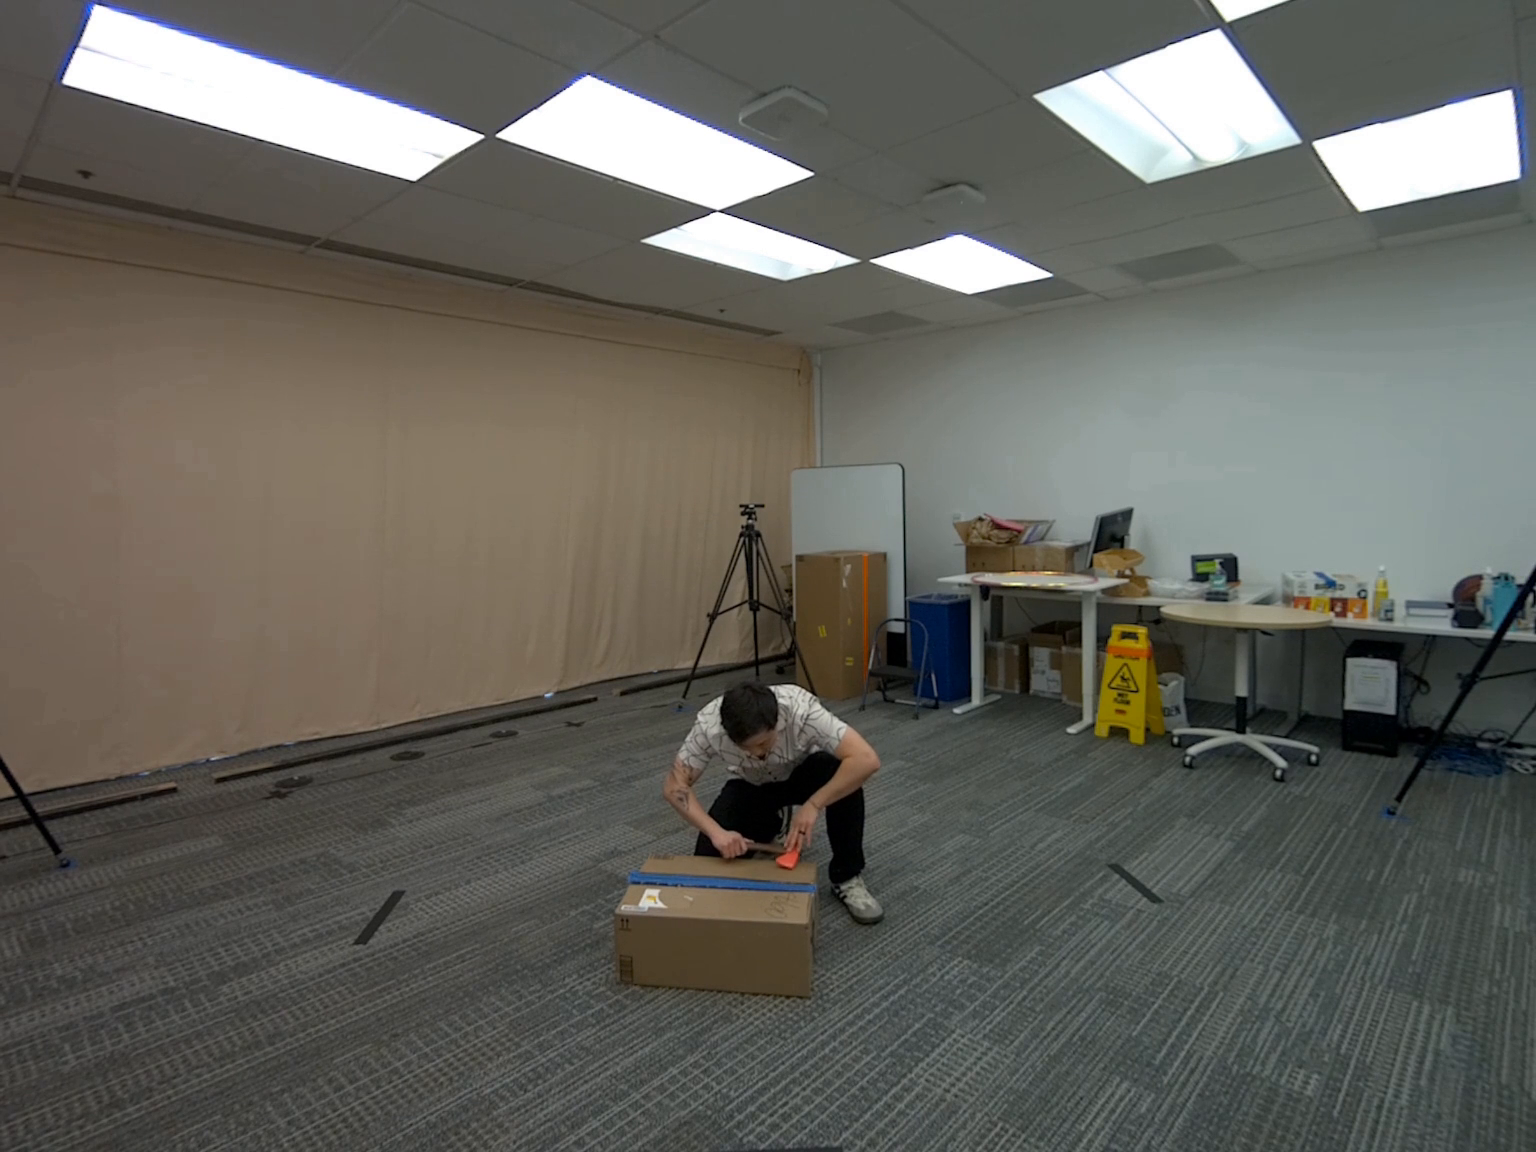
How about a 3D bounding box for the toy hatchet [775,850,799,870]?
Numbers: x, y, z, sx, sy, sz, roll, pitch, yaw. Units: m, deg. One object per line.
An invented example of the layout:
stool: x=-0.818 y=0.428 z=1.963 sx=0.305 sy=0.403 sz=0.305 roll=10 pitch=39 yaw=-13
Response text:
toy hatchet: x=-0.023 y=0.908 z=2.745 sx=0.268 sy=0.029 sz=0.134 roll=-7 pitch=26 yaw=-7
